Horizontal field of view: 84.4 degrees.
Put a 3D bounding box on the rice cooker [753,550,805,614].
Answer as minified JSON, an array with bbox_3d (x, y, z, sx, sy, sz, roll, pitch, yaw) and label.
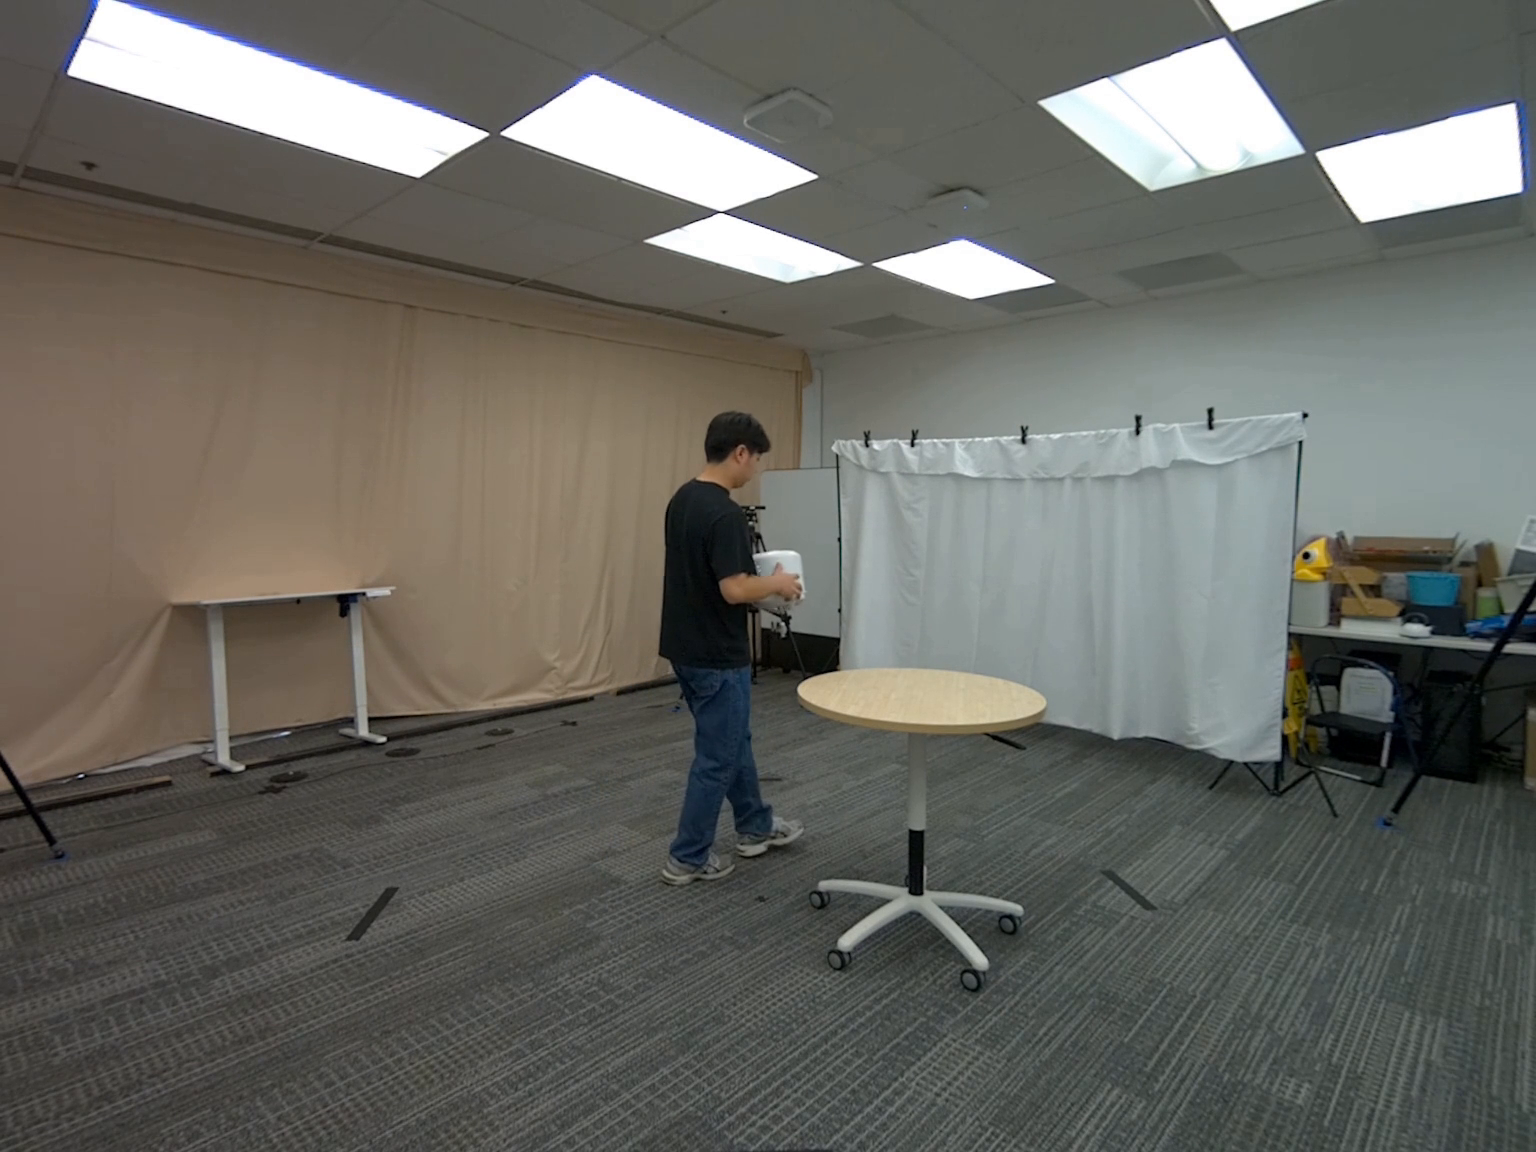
[{"bbox_3d":[0.031,0.025,3.239,0.211,0.234,0.226,-1,-7,-40],"label":"rice cooker"}]
